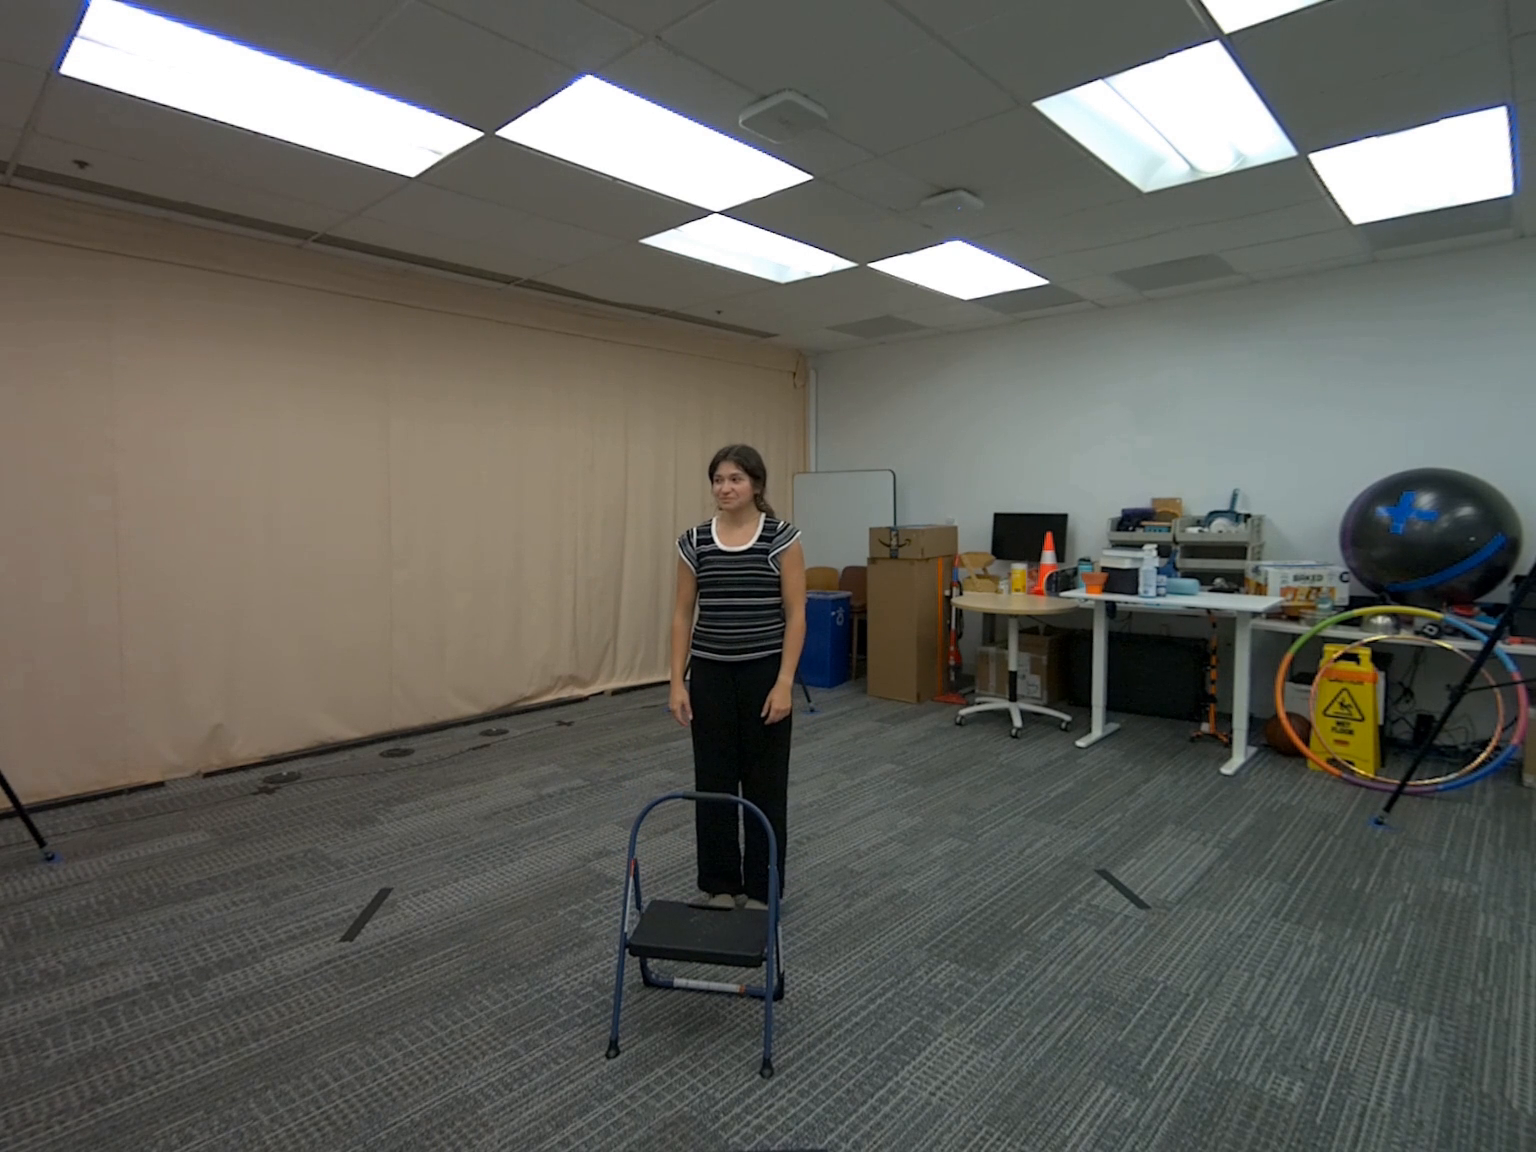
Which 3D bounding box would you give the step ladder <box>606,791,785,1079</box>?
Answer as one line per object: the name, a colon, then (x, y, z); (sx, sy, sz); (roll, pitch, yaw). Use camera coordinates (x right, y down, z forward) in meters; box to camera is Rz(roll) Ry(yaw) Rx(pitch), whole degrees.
step ladder: (-0.183, 0.902, 2.245); (0.435, 0.605, 0.346); (0, 3, 9)
